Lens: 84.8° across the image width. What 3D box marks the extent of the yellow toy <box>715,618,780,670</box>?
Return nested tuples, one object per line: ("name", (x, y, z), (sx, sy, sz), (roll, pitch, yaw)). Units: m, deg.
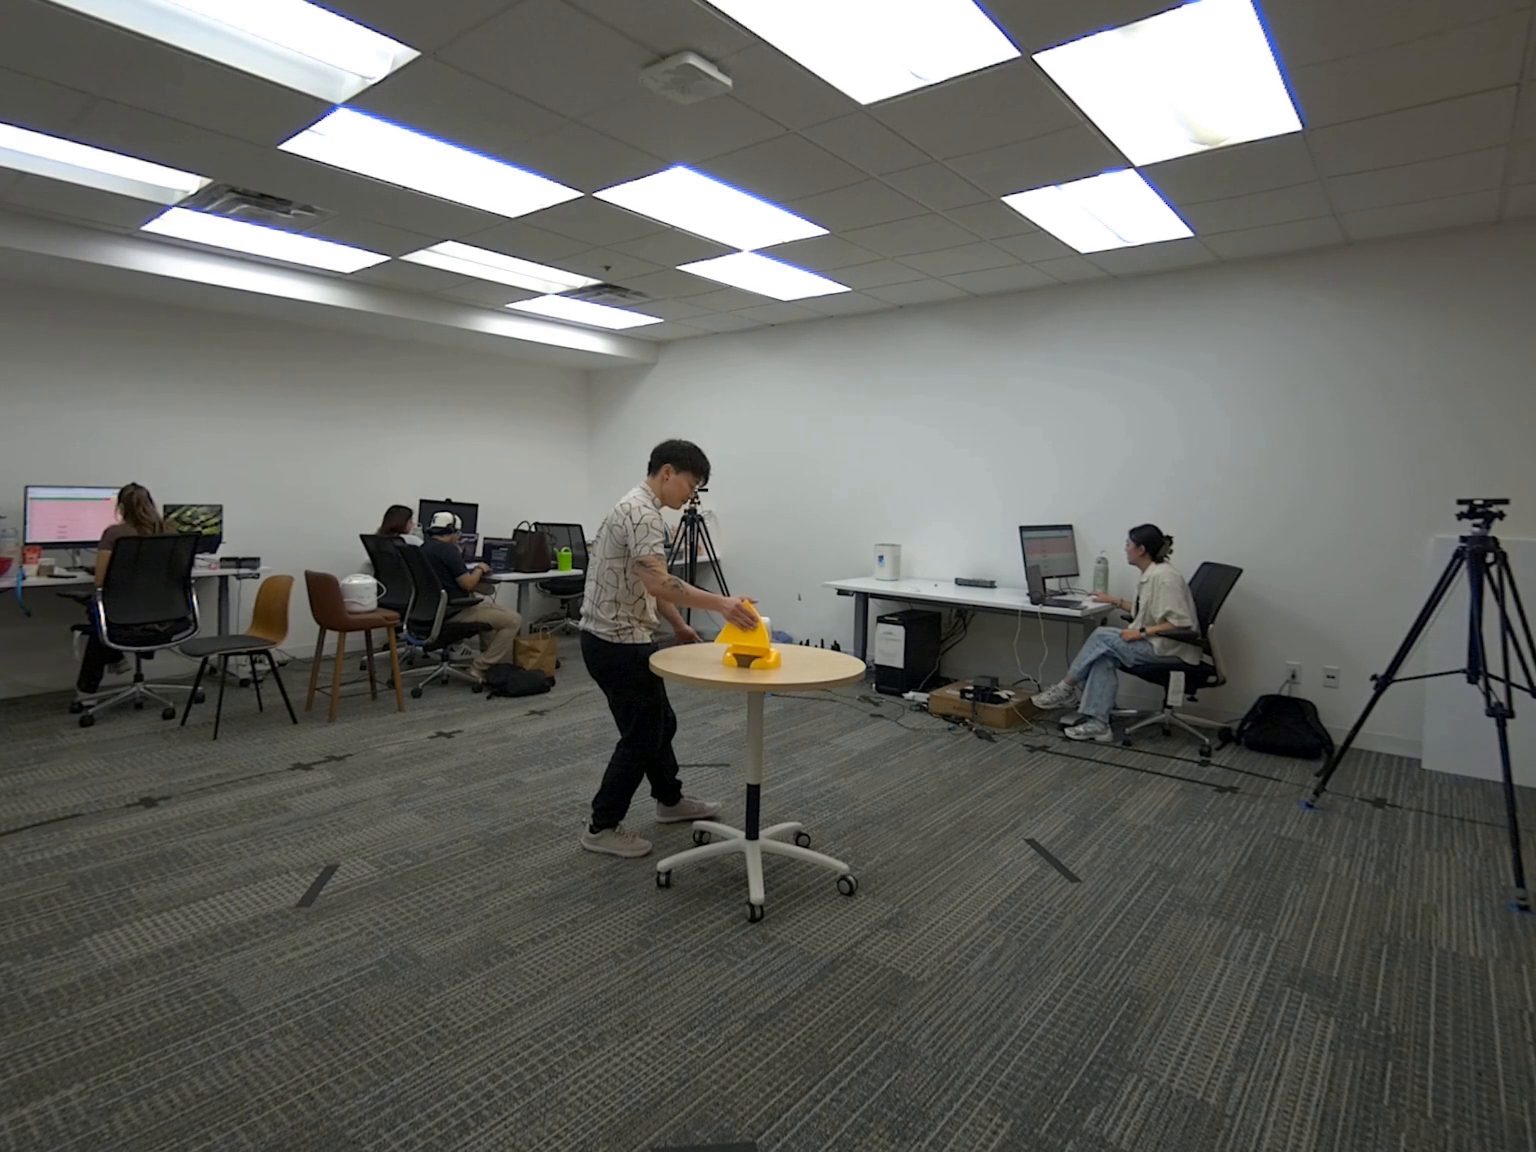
("yellow toy", (-0.062, 0.191, 2.955), (0.210, 0.230, 0.189), (3, 4, 22))
